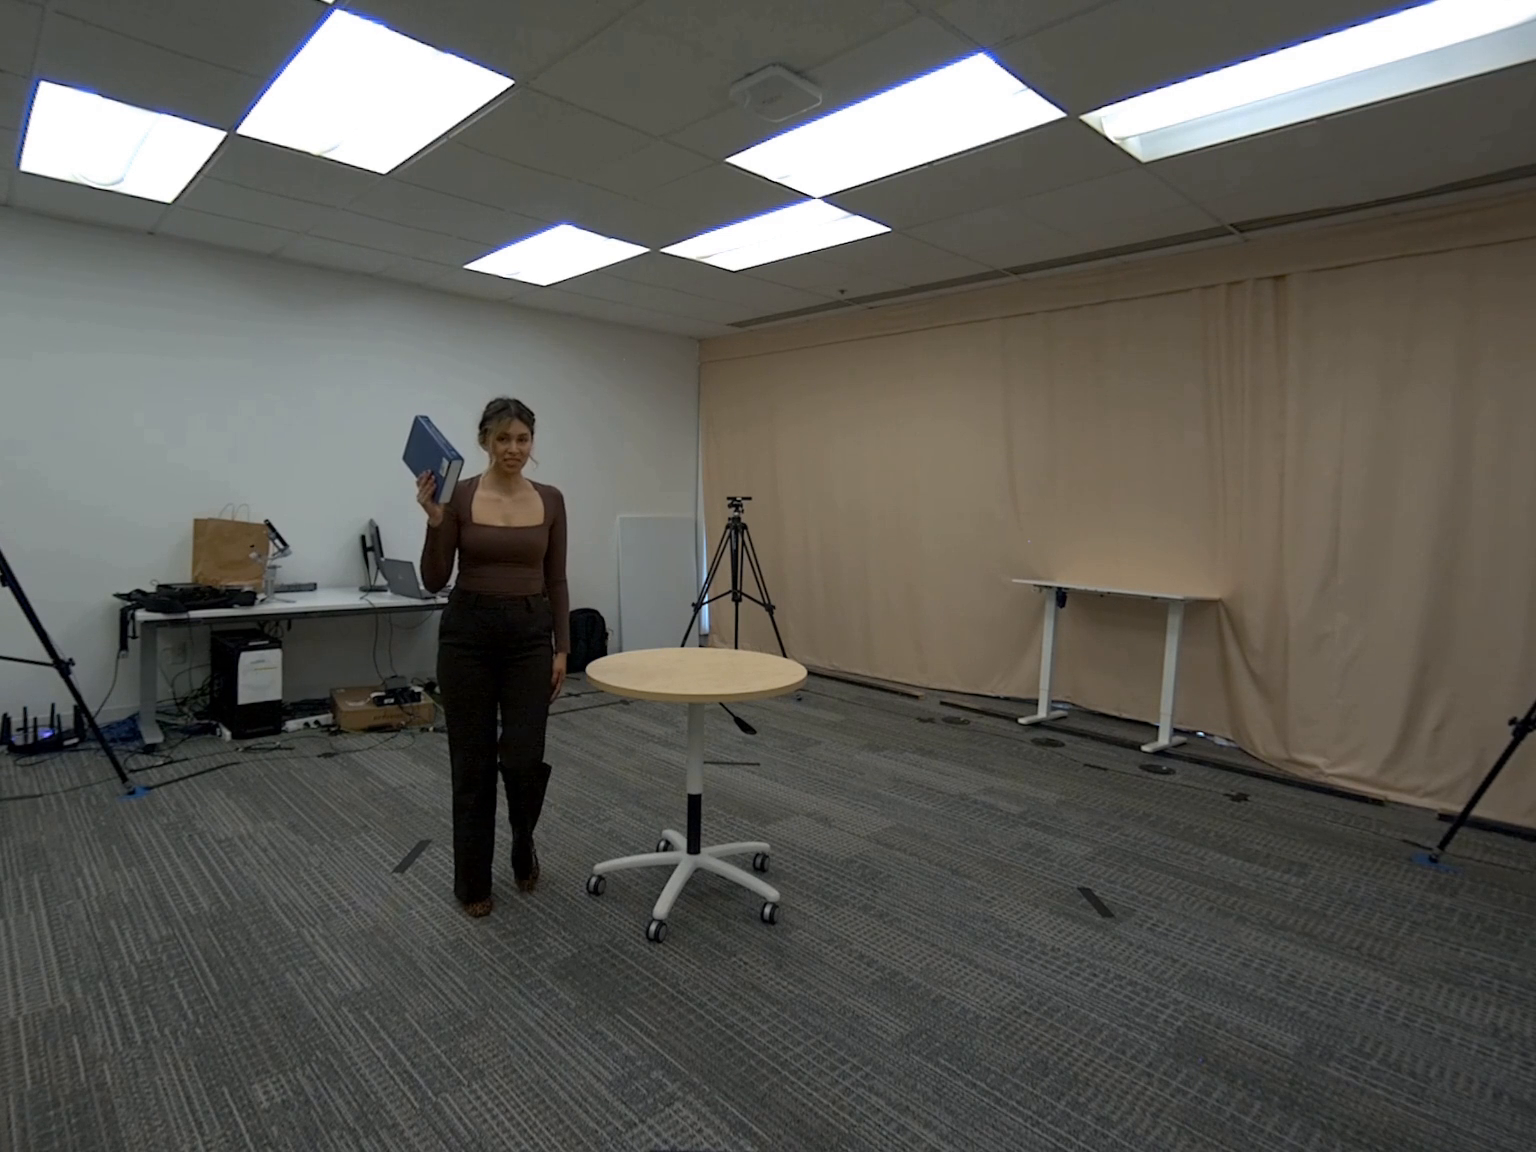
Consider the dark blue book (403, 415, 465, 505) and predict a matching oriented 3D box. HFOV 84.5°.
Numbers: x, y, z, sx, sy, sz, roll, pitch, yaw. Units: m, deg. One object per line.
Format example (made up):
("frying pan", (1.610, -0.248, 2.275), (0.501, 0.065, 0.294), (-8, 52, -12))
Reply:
("dark blue book", (-1.023, -0.353, 2.544), (0.044, 0.162, 0.252), (-4, 41, -50))
